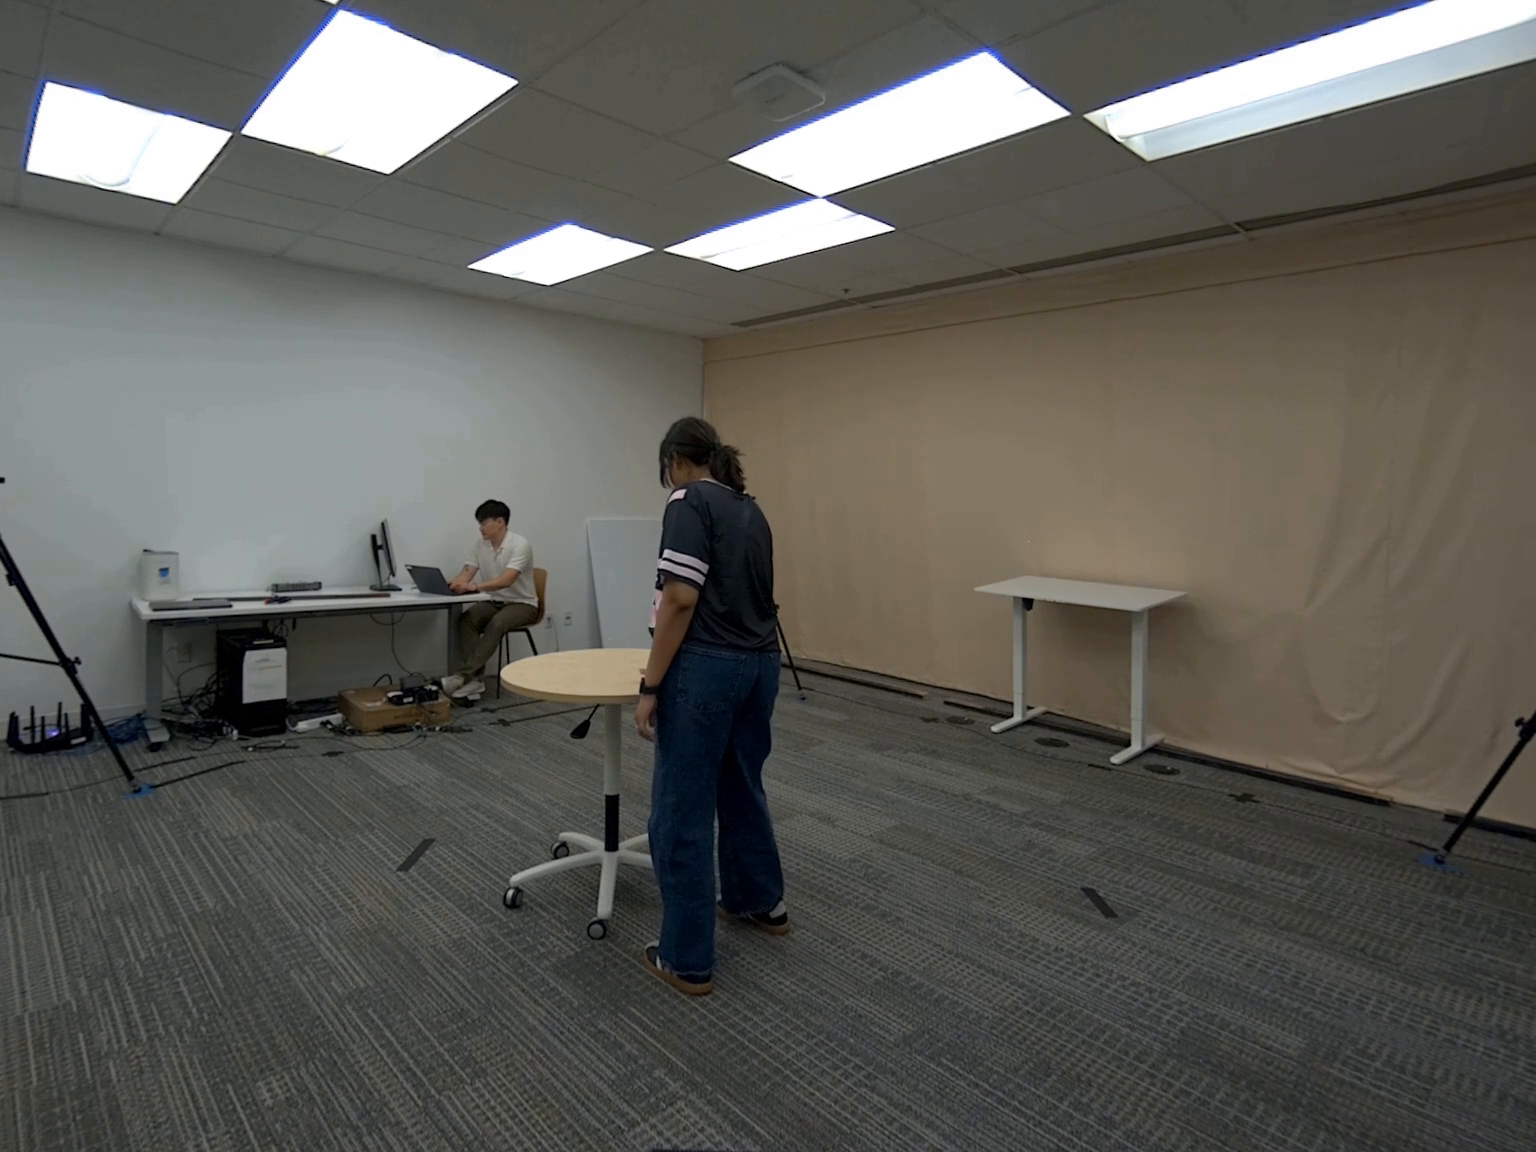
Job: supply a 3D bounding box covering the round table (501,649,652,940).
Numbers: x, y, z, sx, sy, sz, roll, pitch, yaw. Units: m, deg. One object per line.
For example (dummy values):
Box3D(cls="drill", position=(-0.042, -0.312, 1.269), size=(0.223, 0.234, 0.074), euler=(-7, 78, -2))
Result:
Box3D(cls="round table", position=(-0.557, 0.717, 2.947), size=(0.784, 0.784, 0.788), euler=(1, 4, -1))
